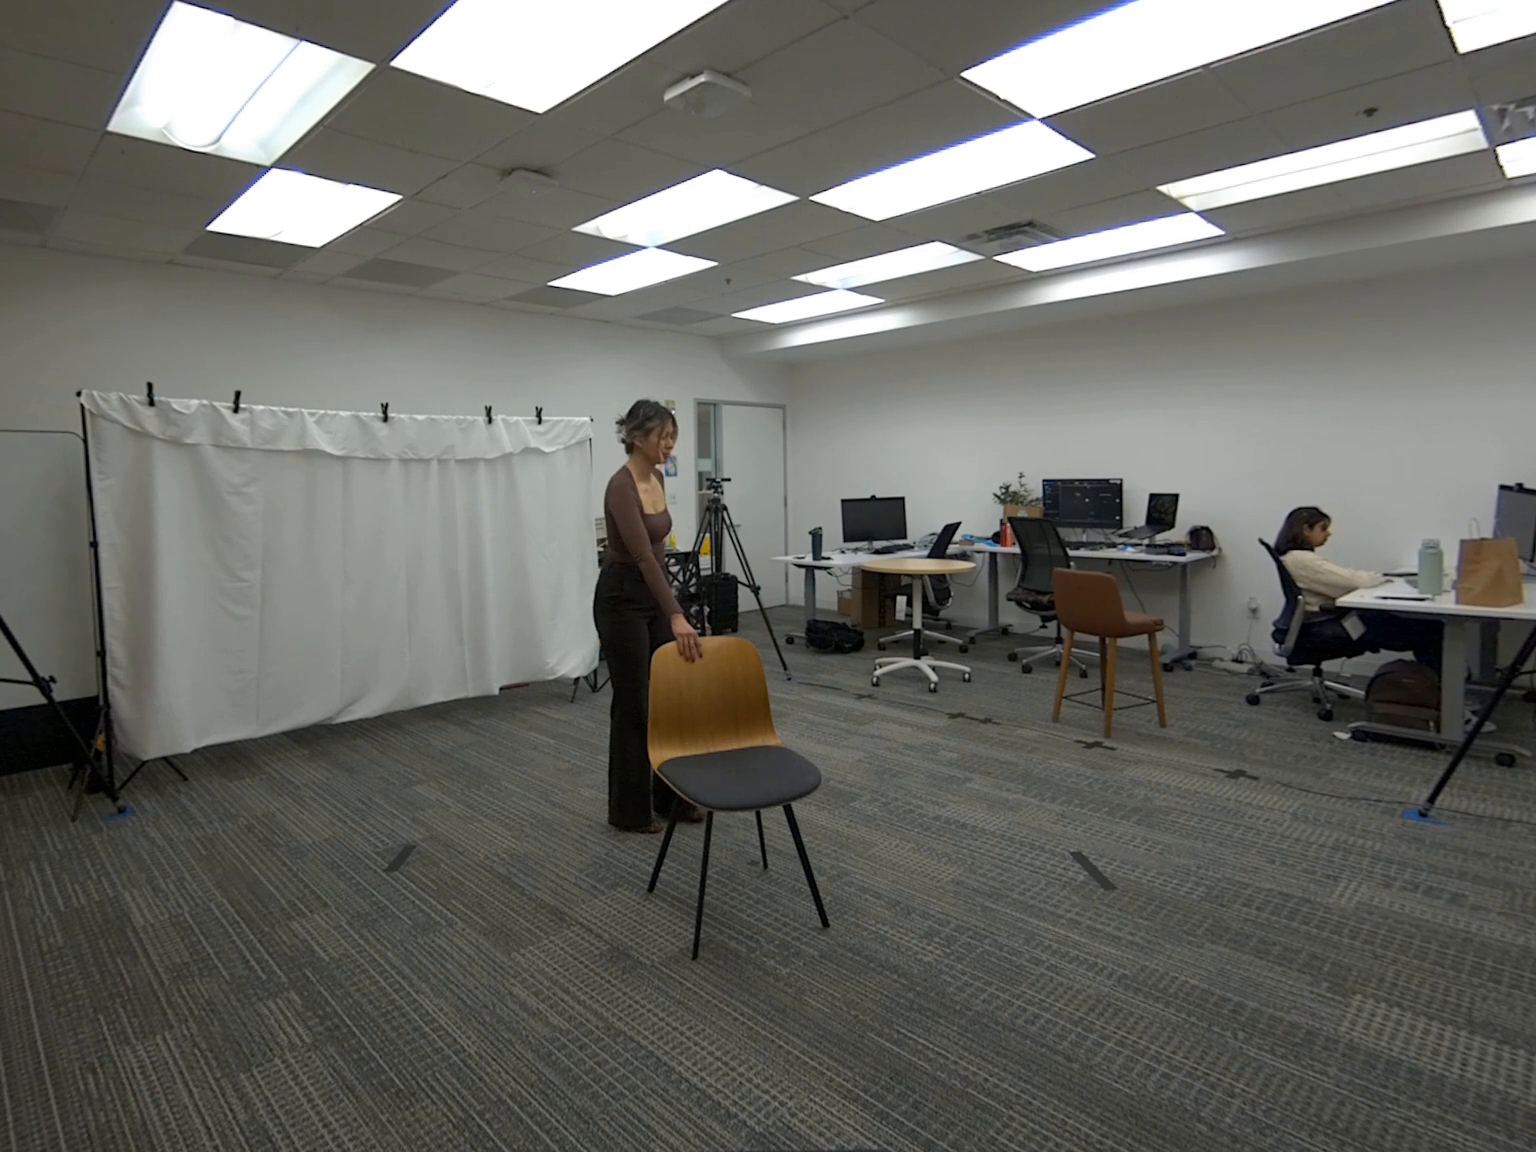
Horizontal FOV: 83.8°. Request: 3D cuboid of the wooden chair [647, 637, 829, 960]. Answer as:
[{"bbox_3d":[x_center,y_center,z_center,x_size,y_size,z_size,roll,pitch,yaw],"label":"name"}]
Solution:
[{"bbox_3d":[-0.111,0.660,2.732,0.468,0.877,0.534,-3,1,-24],"label":"wooden chair"}]
